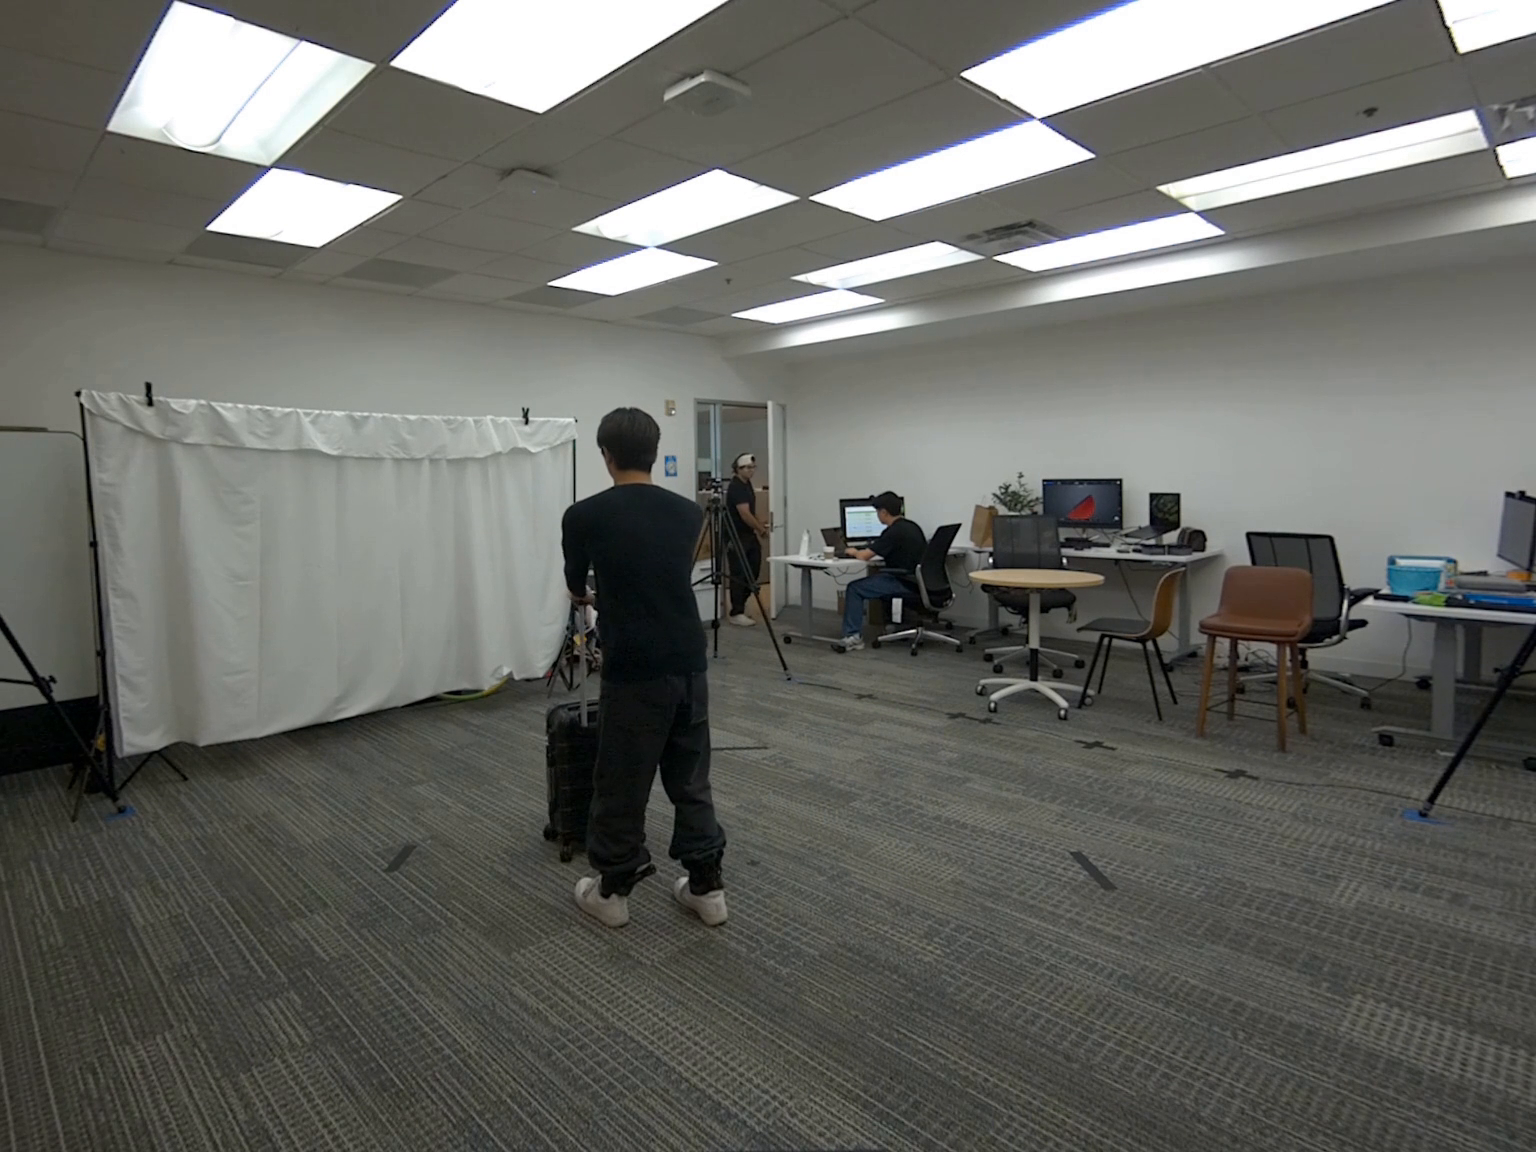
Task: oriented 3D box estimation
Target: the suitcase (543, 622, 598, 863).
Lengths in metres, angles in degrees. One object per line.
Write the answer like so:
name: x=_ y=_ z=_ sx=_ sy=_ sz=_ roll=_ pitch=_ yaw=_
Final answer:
suitcase: x=-0.677 y=0.555 z=3.315 sx=0.376 sy=0.977 sz=0.263 roll=-1 pitch=2 yaw=-23
